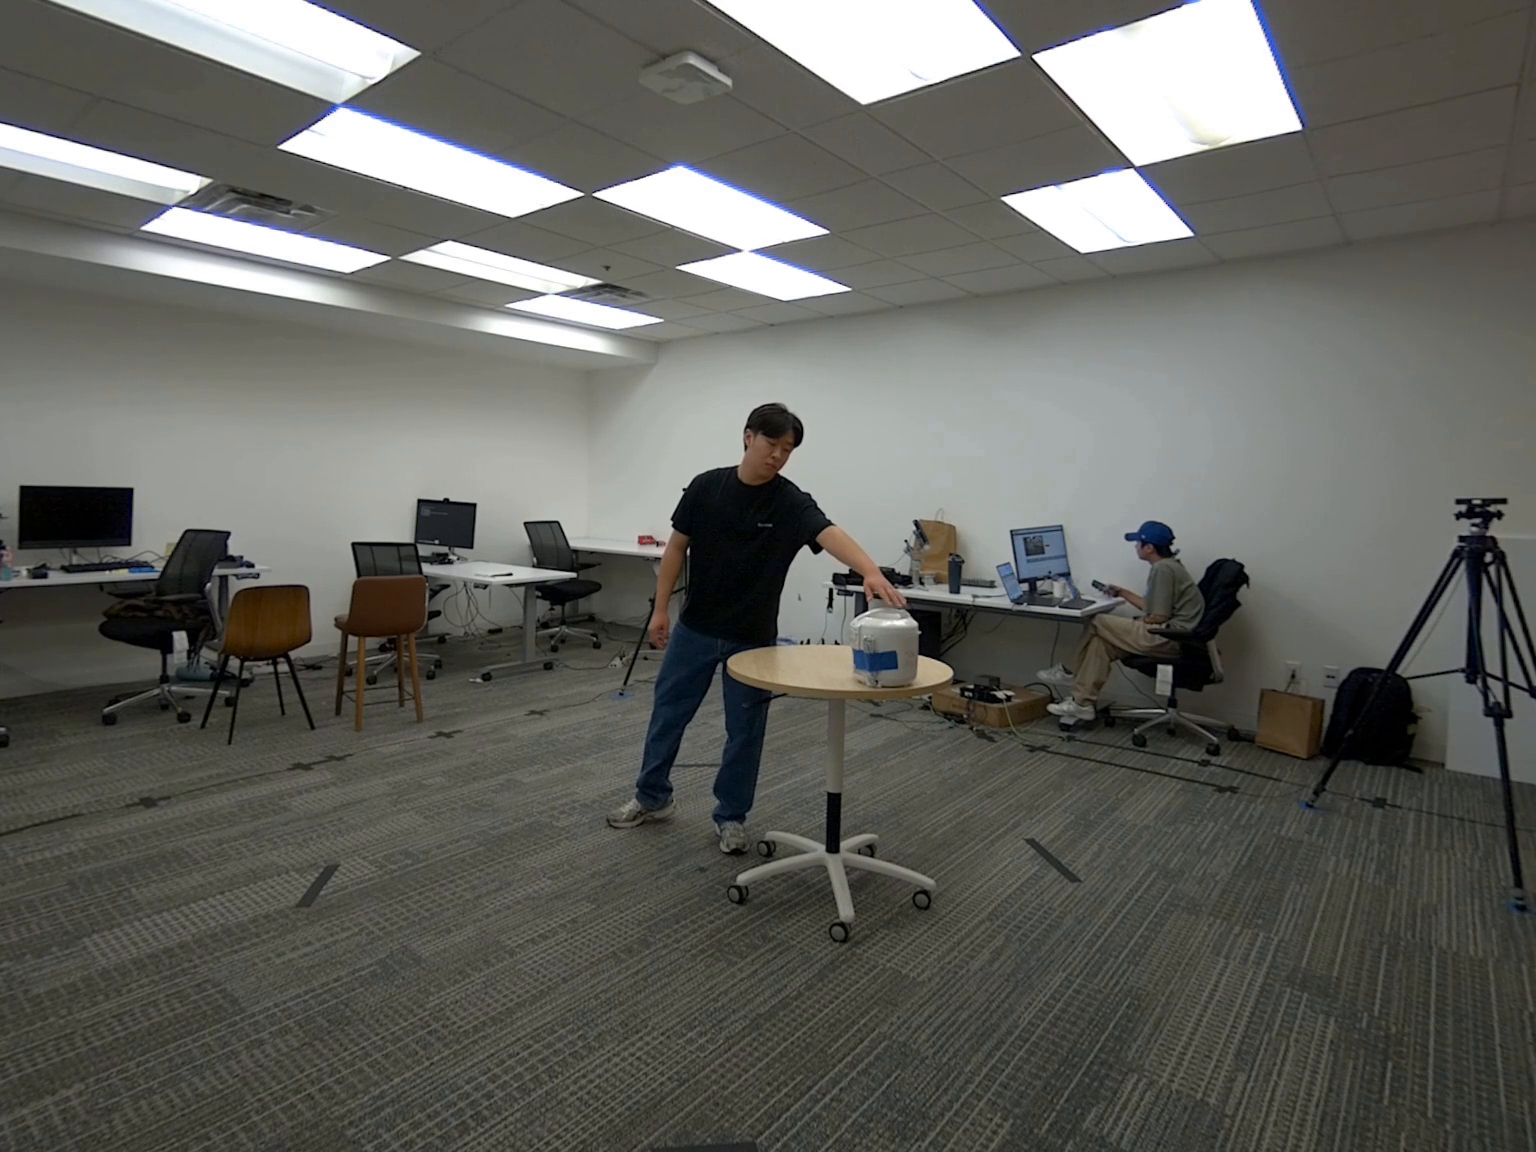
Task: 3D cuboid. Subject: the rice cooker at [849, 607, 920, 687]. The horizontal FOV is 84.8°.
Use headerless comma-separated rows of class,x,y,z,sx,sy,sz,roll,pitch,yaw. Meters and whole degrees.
rice cooker,0.360,0.214,2.670,0.217,0.232,0.222,1,5,-14
